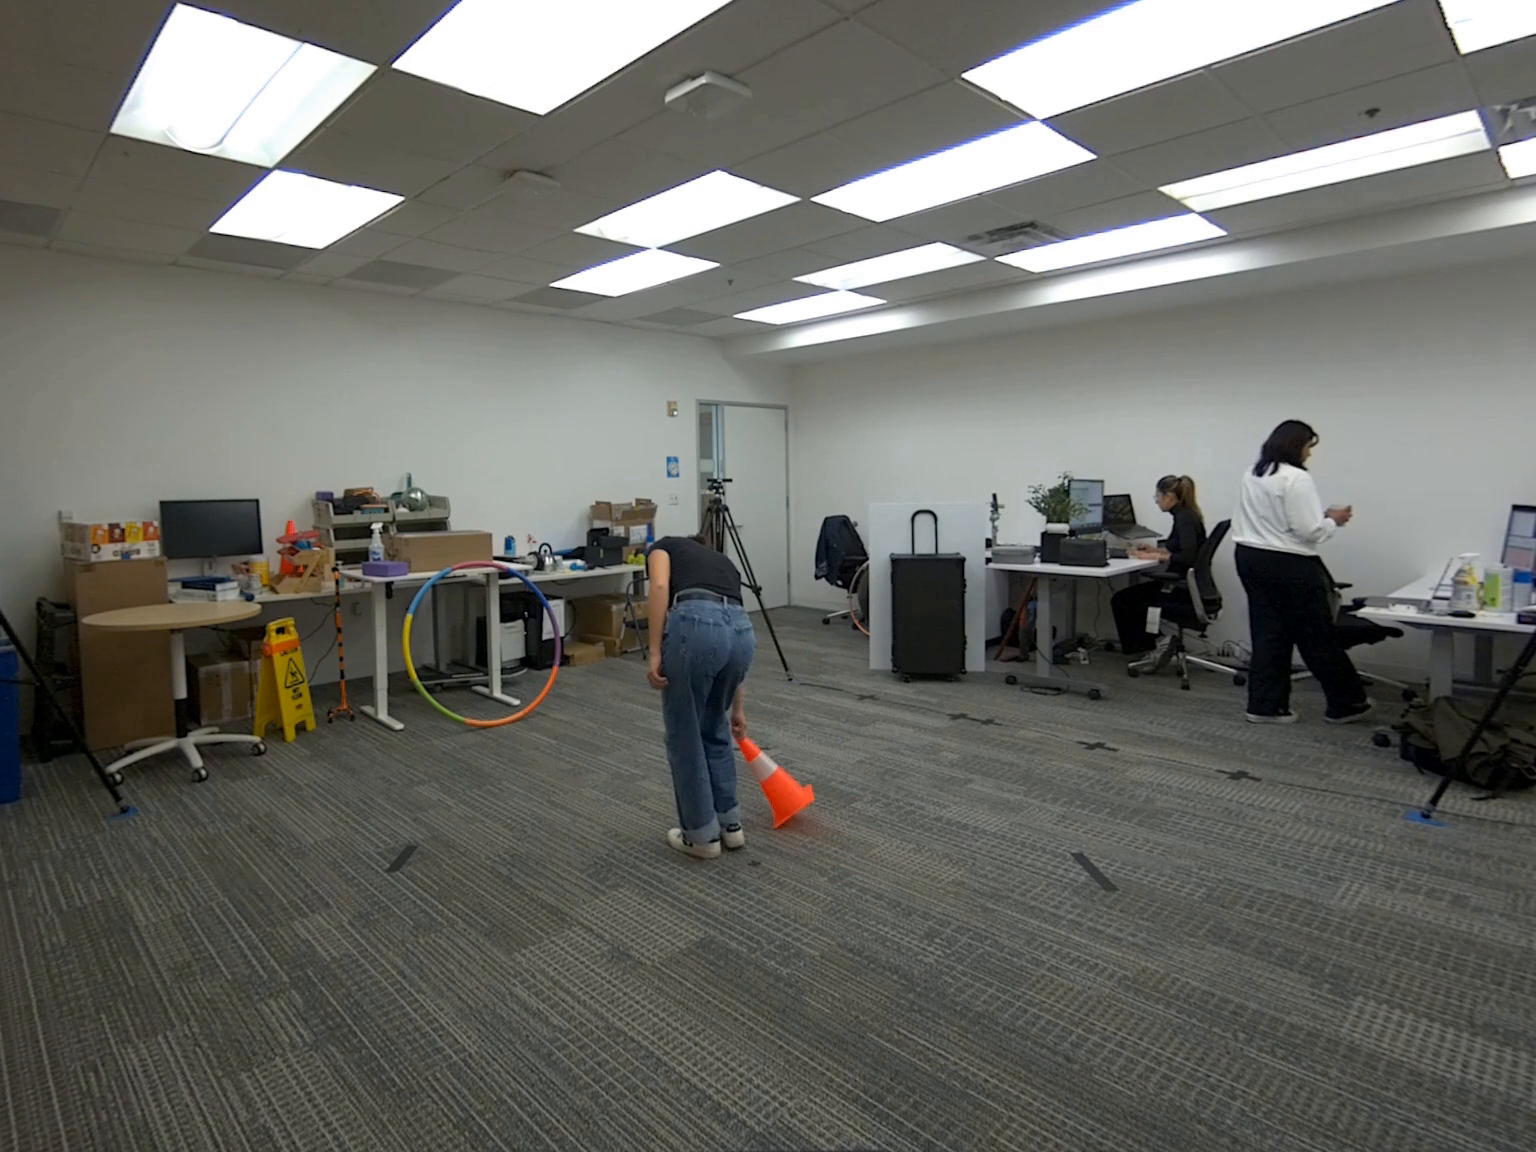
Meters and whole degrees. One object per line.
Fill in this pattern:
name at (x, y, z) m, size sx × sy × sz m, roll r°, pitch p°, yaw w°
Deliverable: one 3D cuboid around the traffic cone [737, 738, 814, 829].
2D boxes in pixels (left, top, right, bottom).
traffic cone at (-0.010, 0.793, 3.489) m, size 0.205 × 0.383 × 0.203 m, roll -36°, pitch 1°, yaw 3°
